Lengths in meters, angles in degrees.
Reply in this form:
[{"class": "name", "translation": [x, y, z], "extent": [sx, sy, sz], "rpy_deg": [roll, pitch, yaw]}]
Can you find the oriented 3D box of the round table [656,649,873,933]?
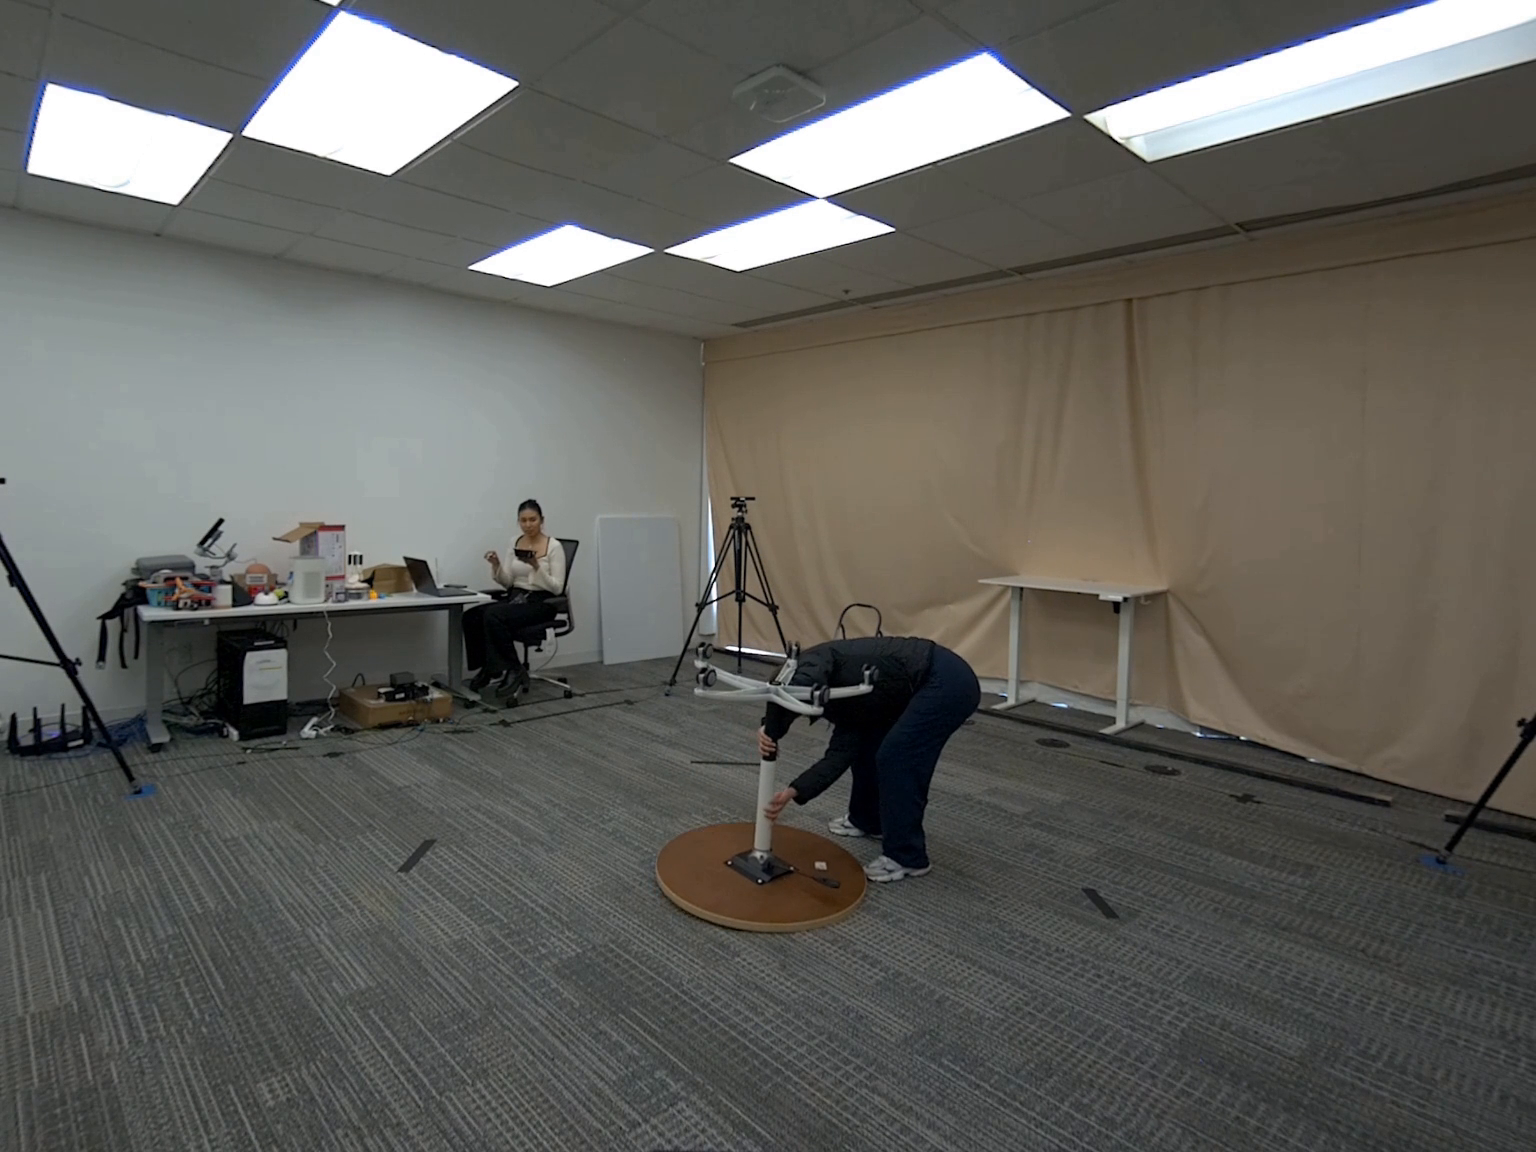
[{"class": "round table", "translation": [-0.008, 0.696, 3.015], "extent": [0.784, 0.783, 0.789], "rpy_deg": [3, 6, -2]}]
